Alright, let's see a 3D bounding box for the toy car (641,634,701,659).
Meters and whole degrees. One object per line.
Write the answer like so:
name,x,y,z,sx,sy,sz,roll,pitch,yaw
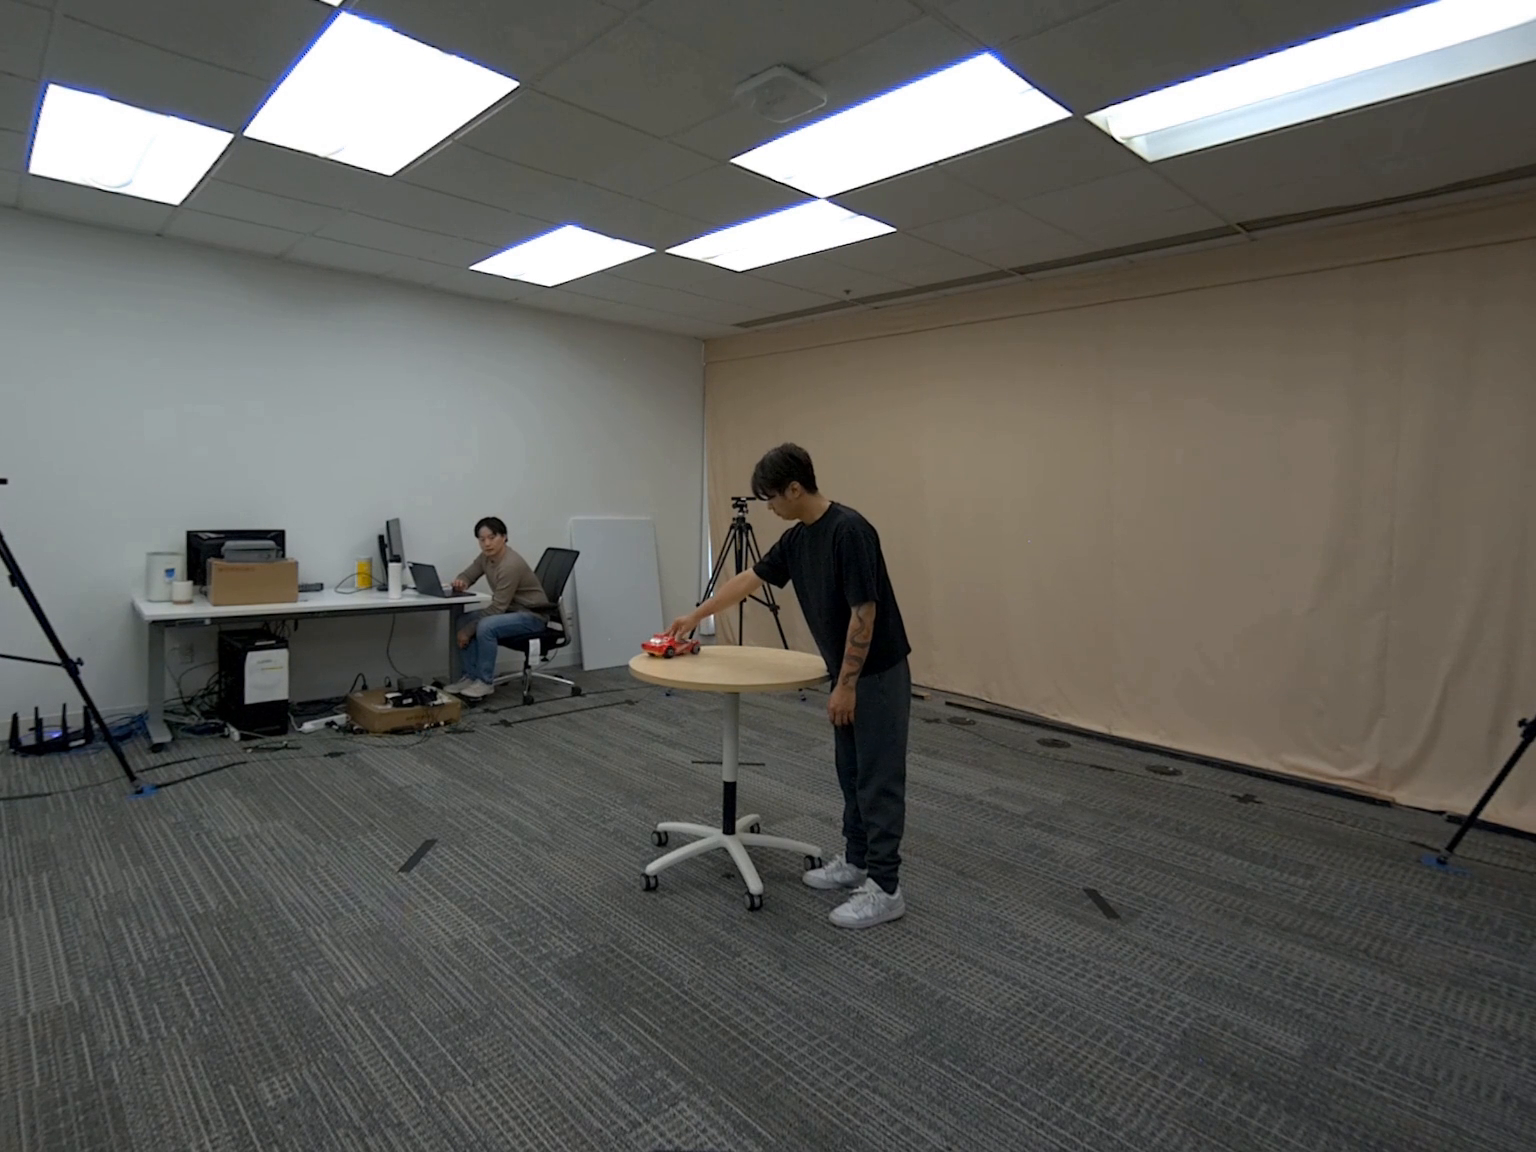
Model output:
toy car,-0.389,0.278,3.252,0.133,0.083,0.247,5,-6,41
